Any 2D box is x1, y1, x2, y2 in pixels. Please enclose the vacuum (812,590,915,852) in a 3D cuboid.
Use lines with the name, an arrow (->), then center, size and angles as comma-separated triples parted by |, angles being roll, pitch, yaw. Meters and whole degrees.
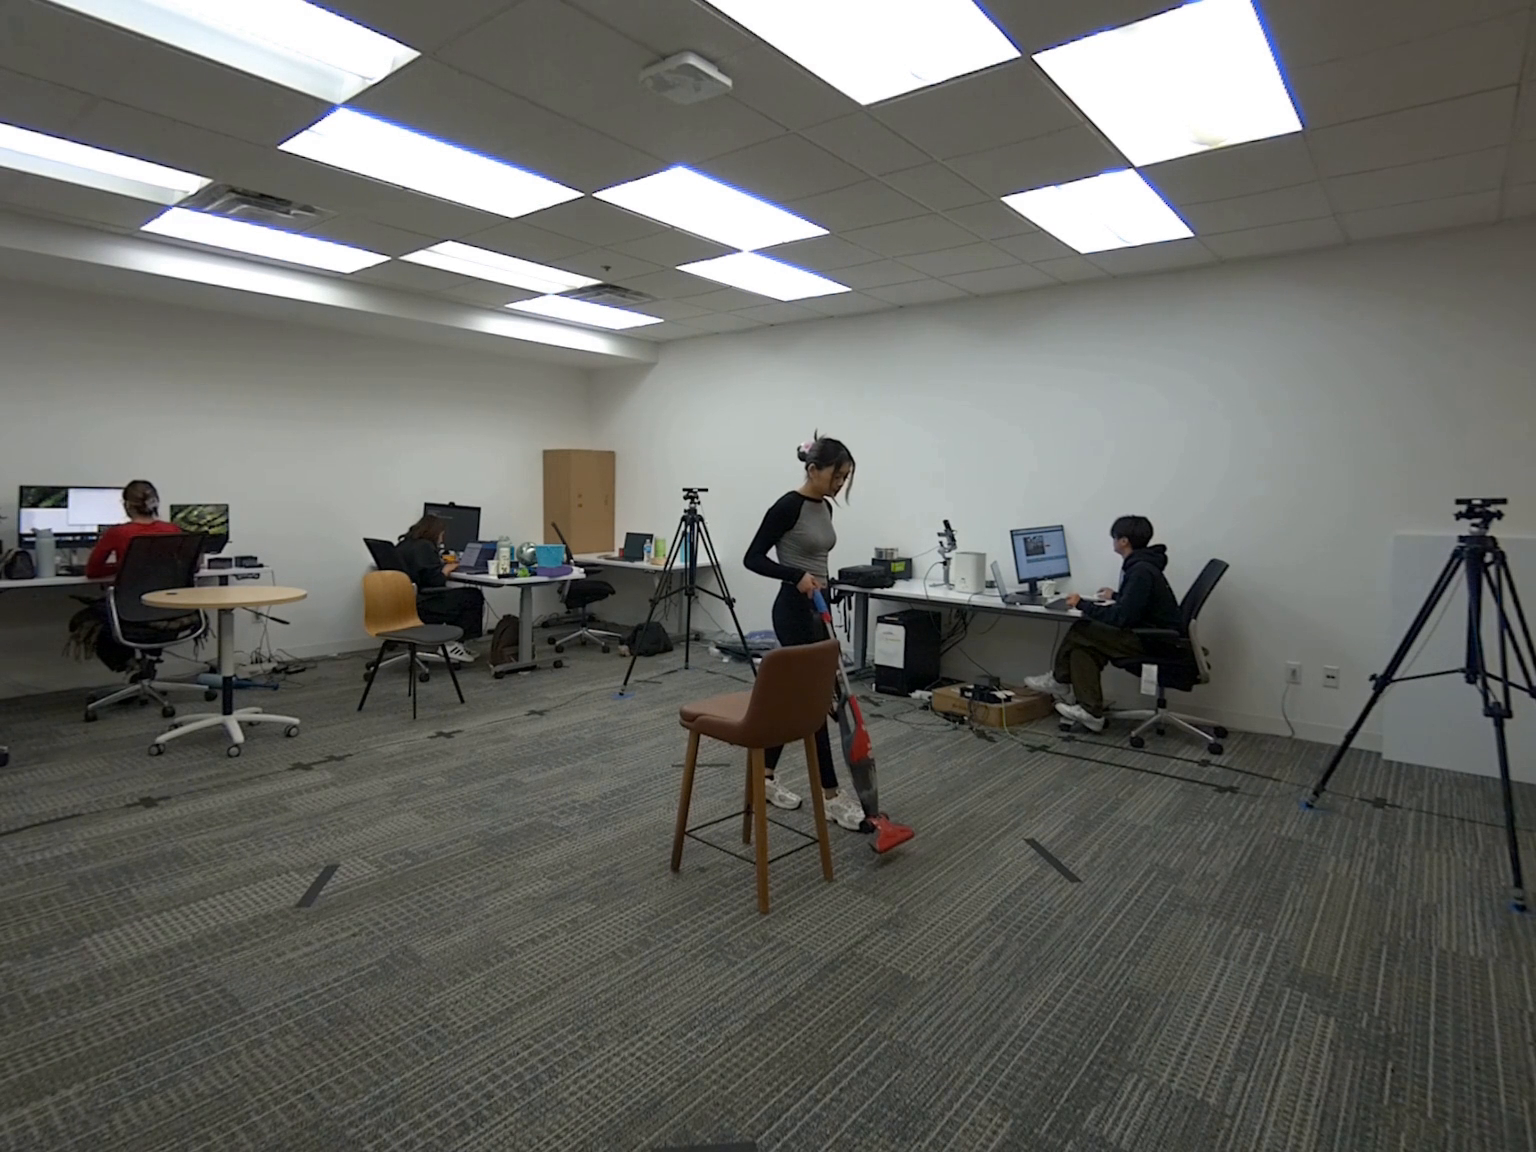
vacuum -> 0.299, 0.494, 3.378 | 0.146, 1.065, 0.245 | -24, -14, 32
